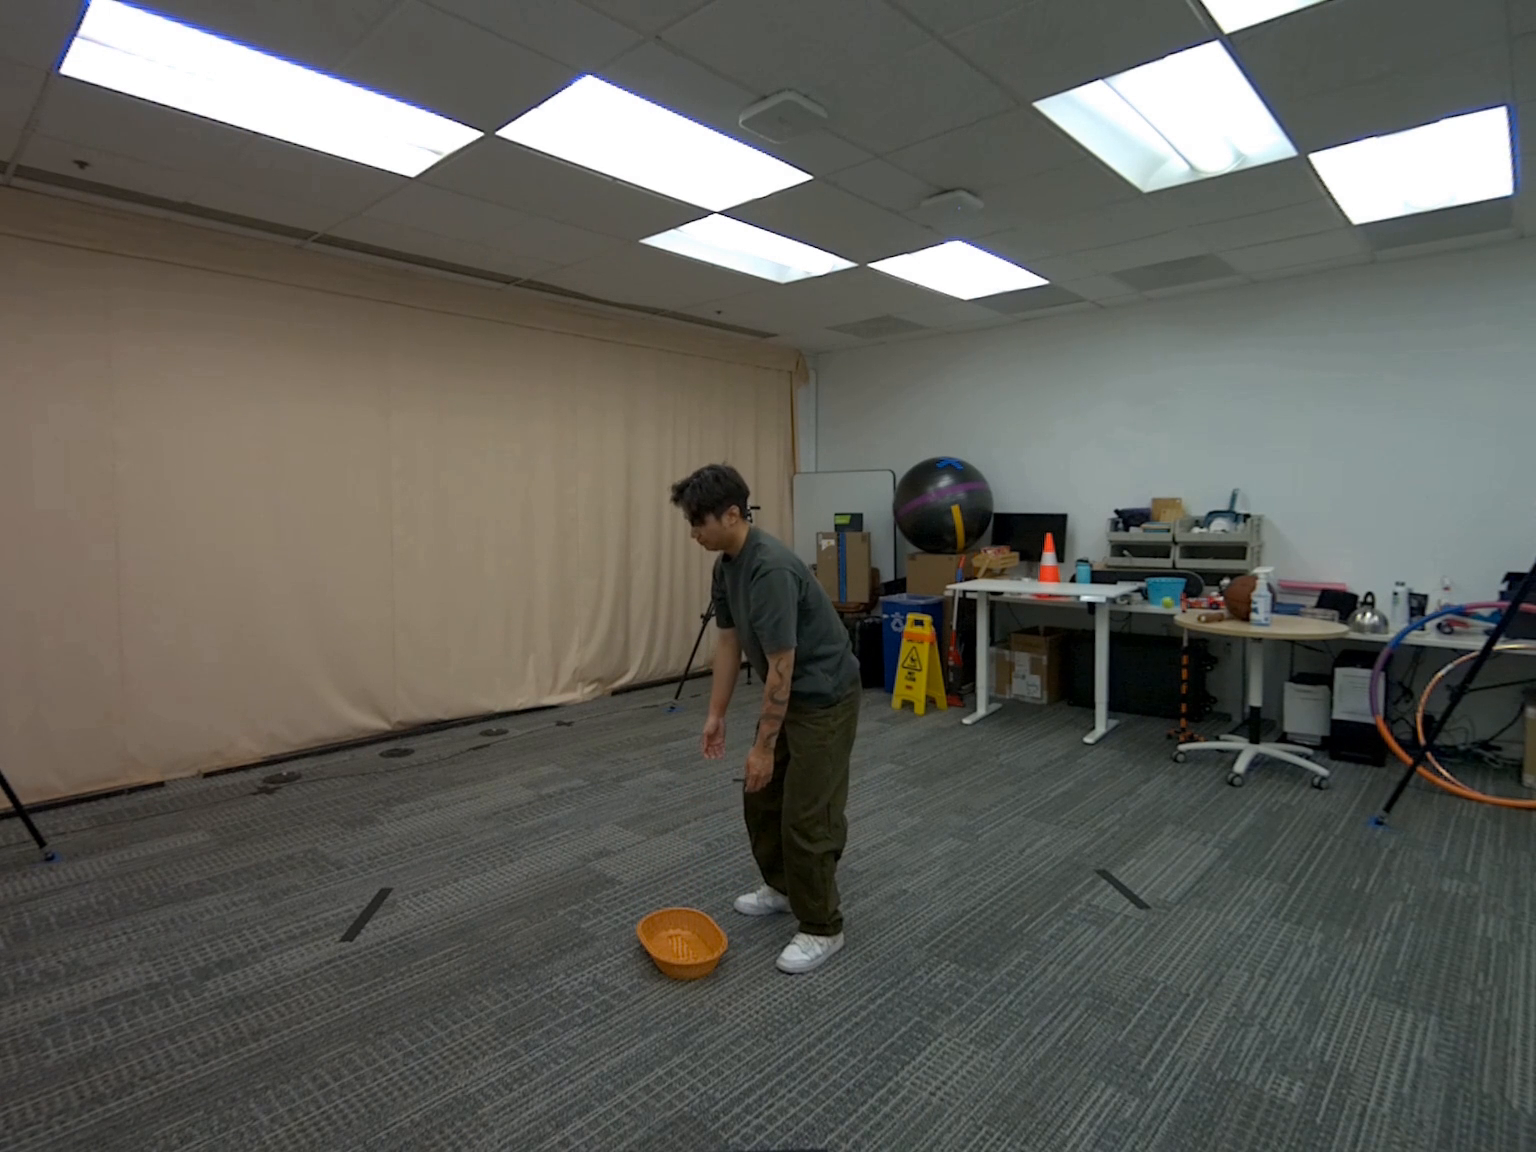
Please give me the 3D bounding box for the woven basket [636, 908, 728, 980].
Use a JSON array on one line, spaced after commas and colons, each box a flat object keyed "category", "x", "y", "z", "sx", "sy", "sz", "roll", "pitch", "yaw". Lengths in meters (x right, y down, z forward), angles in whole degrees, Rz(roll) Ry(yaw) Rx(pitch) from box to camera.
[{"category": "woven basket", "x": -0.266, "y": 1.139, "z": 2.608, "sx": 0.246, "sy": 0.073, "sz": 0.360, "roll": -3, "pitch": 5, "yaw": -25}]
